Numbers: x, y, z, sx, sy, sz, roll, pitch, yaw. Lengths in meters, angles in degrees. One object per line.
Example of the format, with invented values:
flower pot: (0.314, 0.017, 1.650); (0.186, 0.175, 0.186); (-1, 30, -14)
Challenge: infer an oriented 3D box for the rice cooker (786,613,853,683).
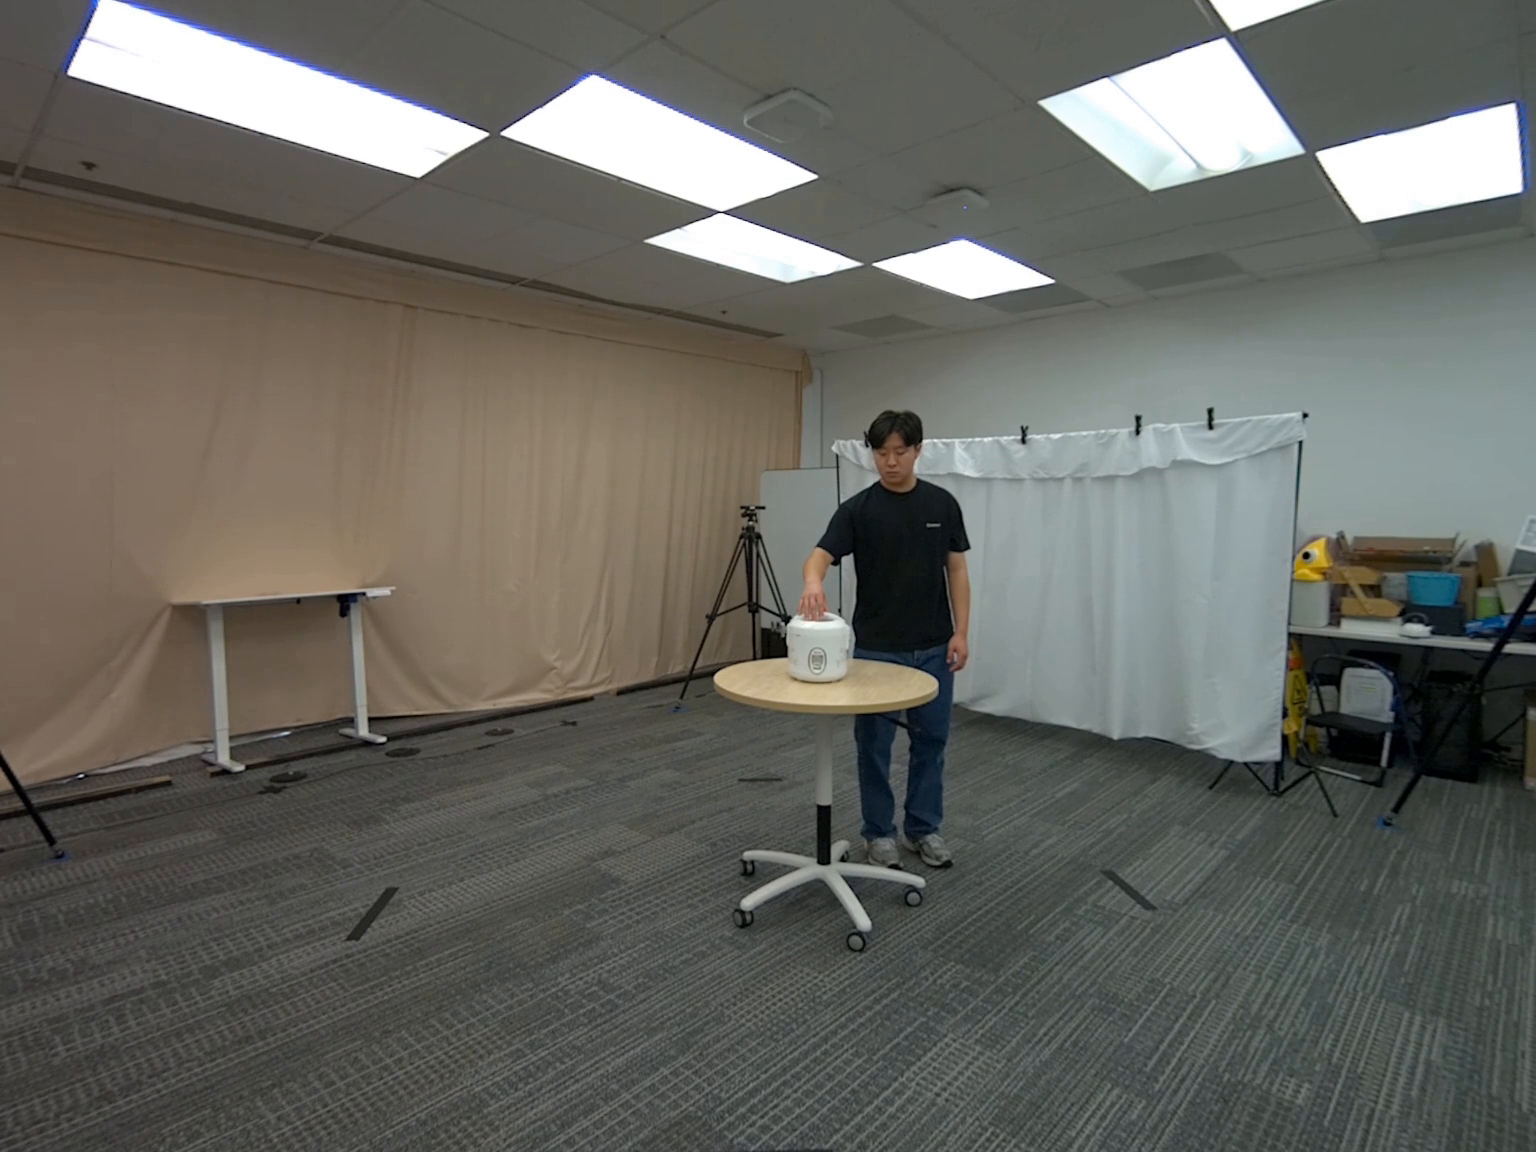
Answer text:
rice cooker: (0.178, 0.238, 2.910); (0.222, 0.232, 0.216); (1, 3, 5)
